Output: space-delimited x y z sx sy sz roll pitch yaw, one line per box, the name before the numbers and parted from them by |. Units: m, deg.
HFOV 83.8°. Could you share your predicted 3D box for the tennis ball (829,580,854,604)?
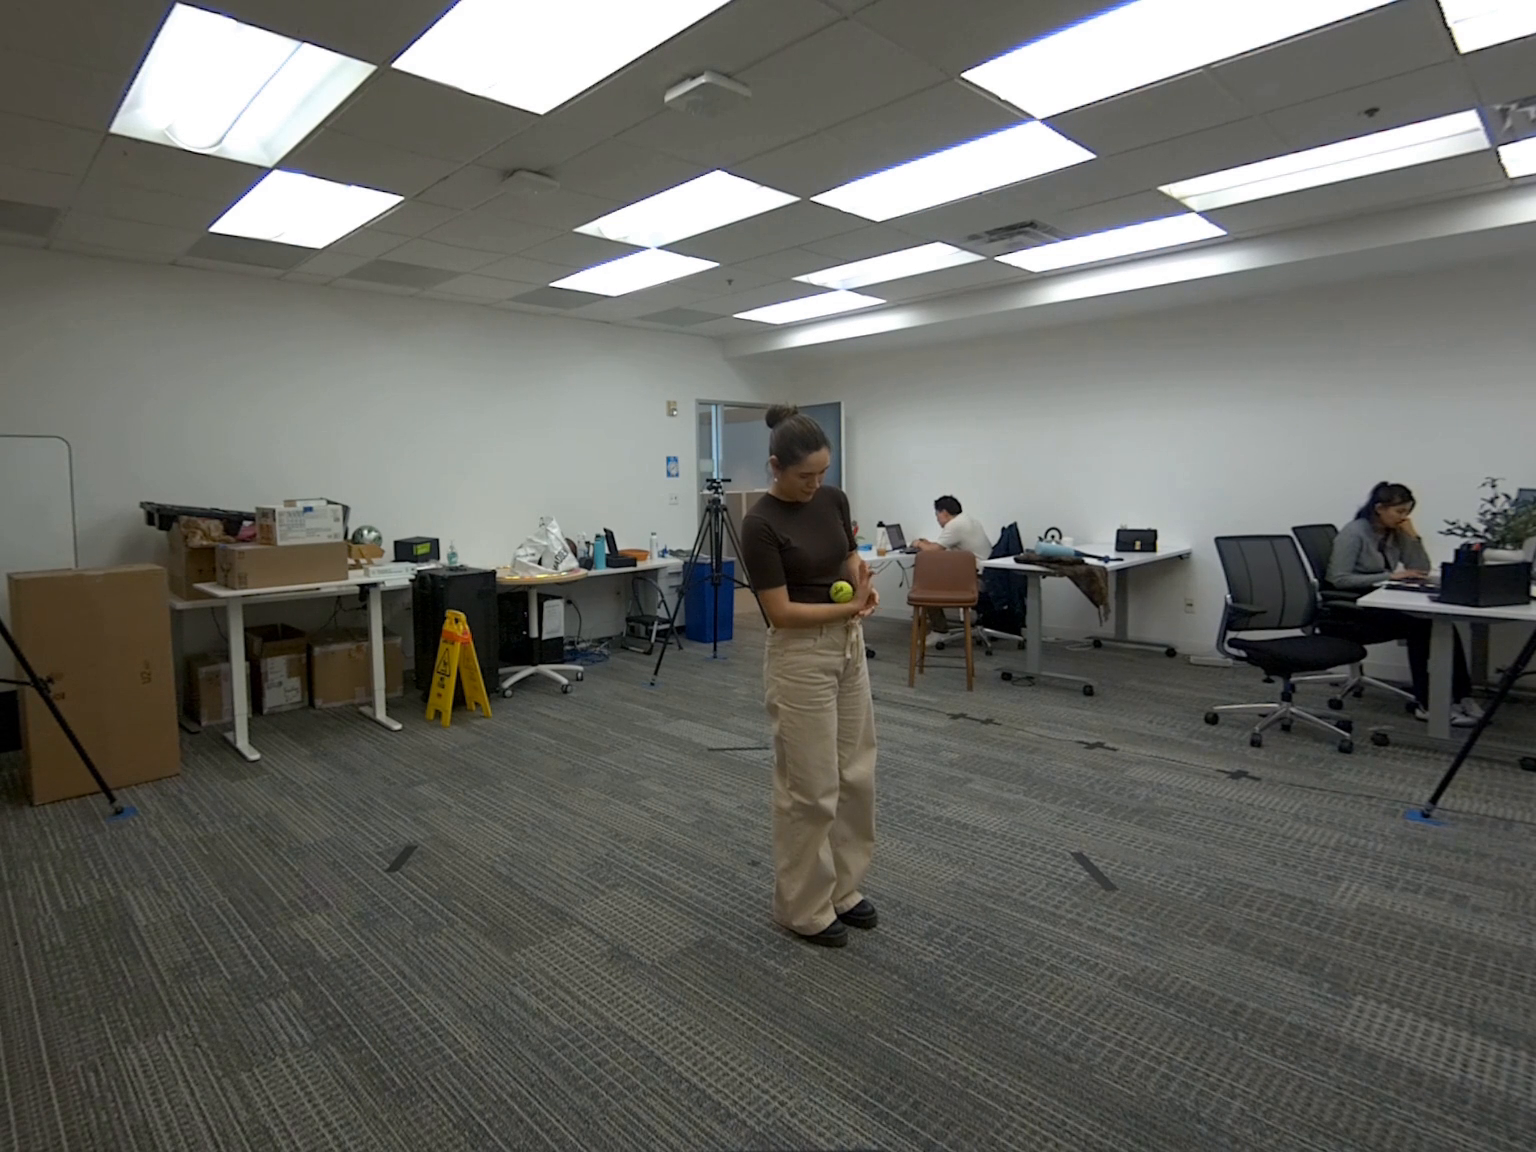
tennis ball | 0.207 0.044 2.540 0.066 0.066 0.067 -1 5 -2
